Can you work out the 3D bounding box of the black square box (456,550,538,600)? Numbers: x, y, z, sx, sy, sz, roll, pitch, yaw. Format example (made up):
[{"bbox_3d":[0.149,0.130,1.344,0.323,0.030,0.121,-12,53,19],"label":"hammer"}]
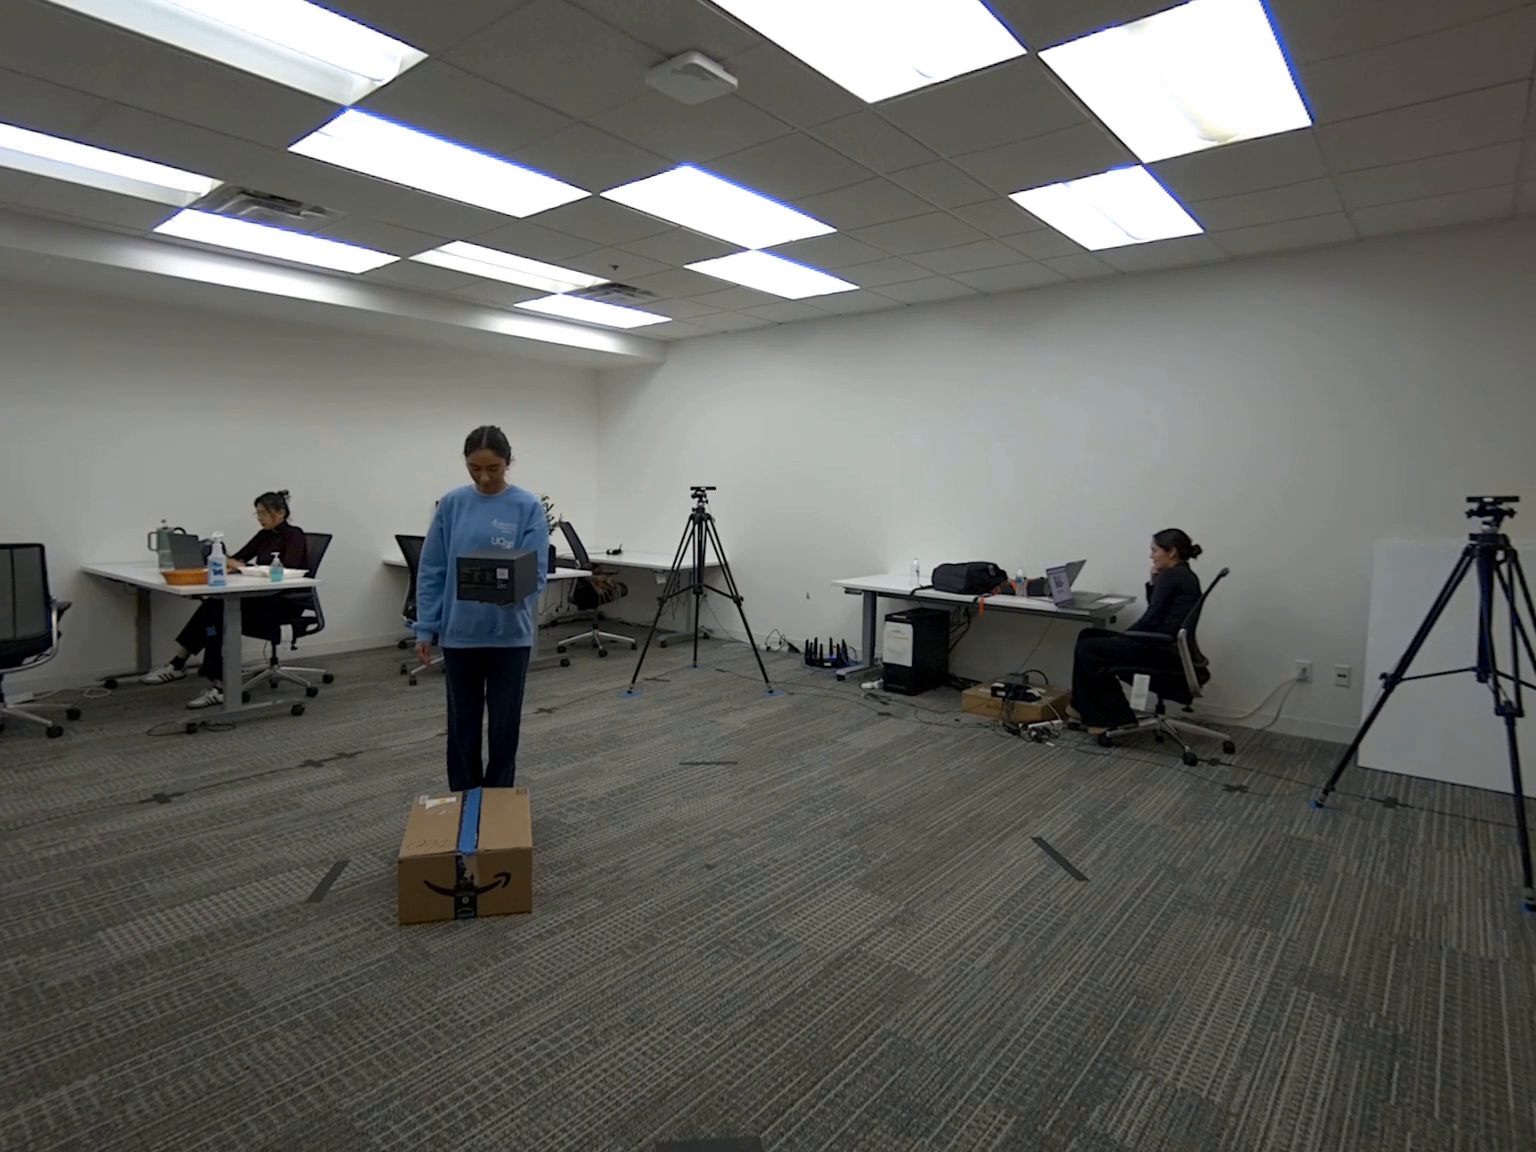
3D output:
[{"bbox_3d":[-0.979,-0.017,3.058,0.219,0.154,0.228,0,10,7],"label":"black square box"}]
